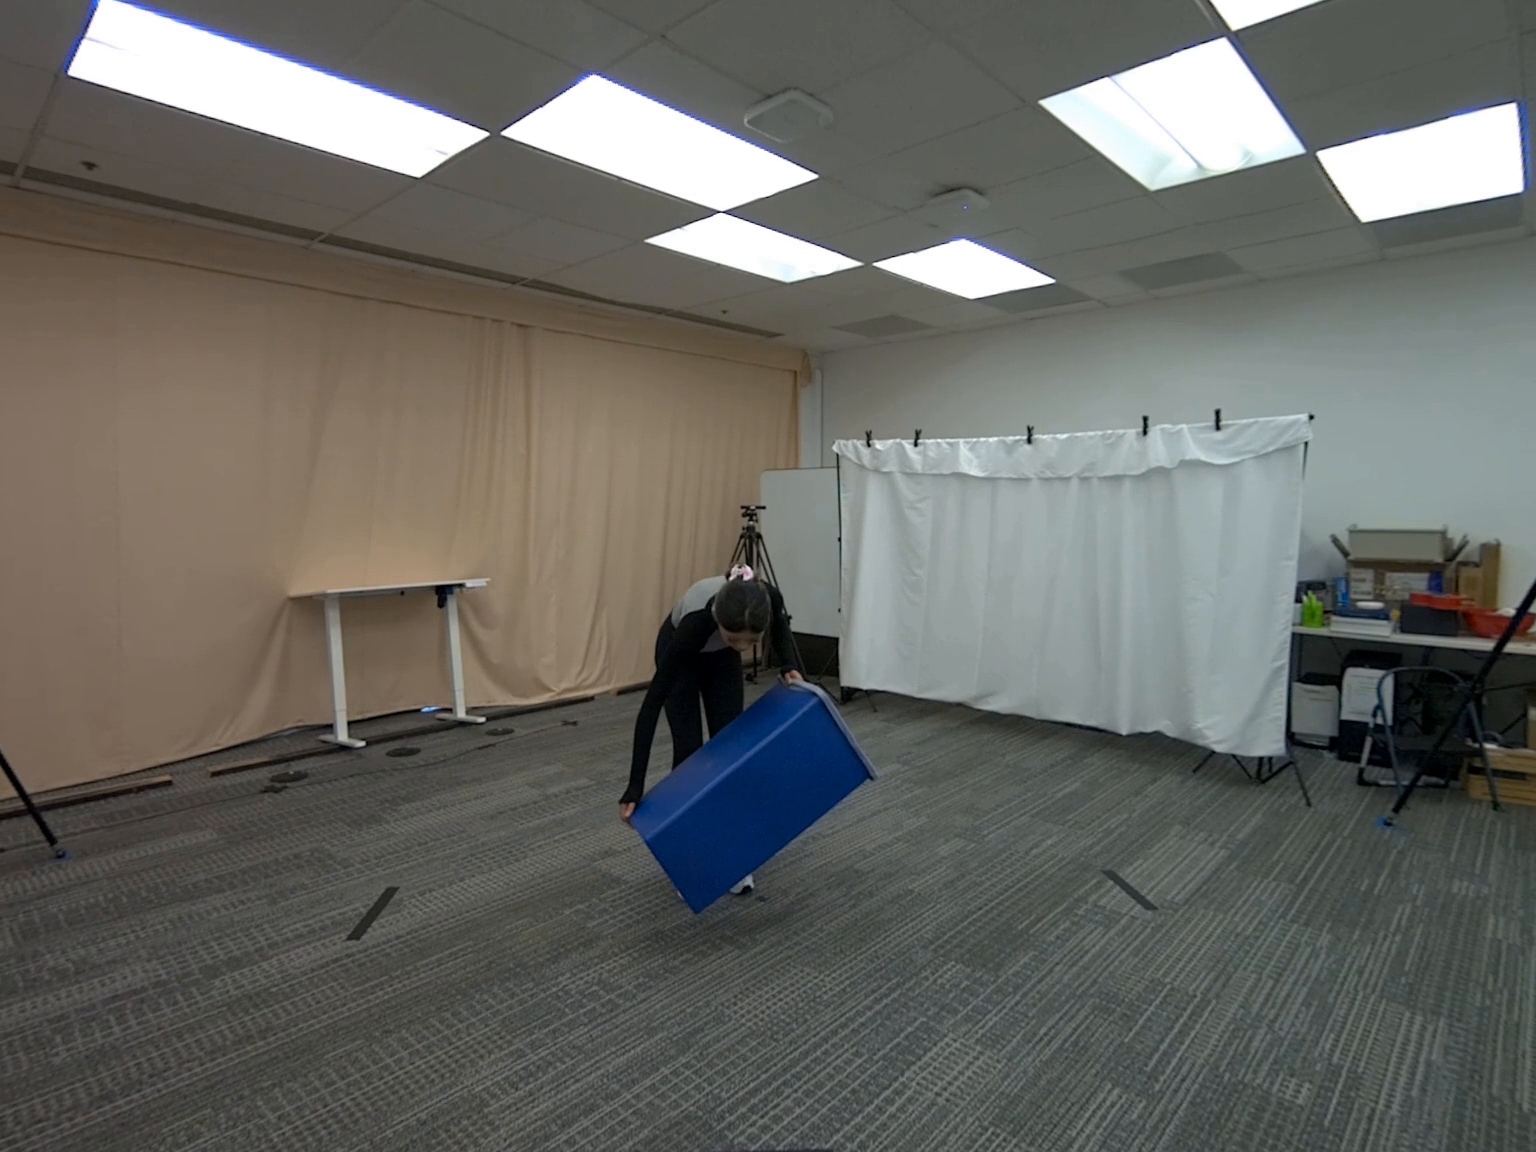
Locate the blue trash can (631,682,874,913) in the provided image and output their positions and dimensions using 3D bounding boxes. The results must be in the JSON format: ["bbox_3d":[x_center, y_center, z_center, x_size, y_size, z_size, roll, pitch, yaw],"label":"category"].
[{"bbox_3d":[-0.063,0.693,2.740,0.708,0.369,0.386,-36,13,-15],"label":"blue trash can"}]
